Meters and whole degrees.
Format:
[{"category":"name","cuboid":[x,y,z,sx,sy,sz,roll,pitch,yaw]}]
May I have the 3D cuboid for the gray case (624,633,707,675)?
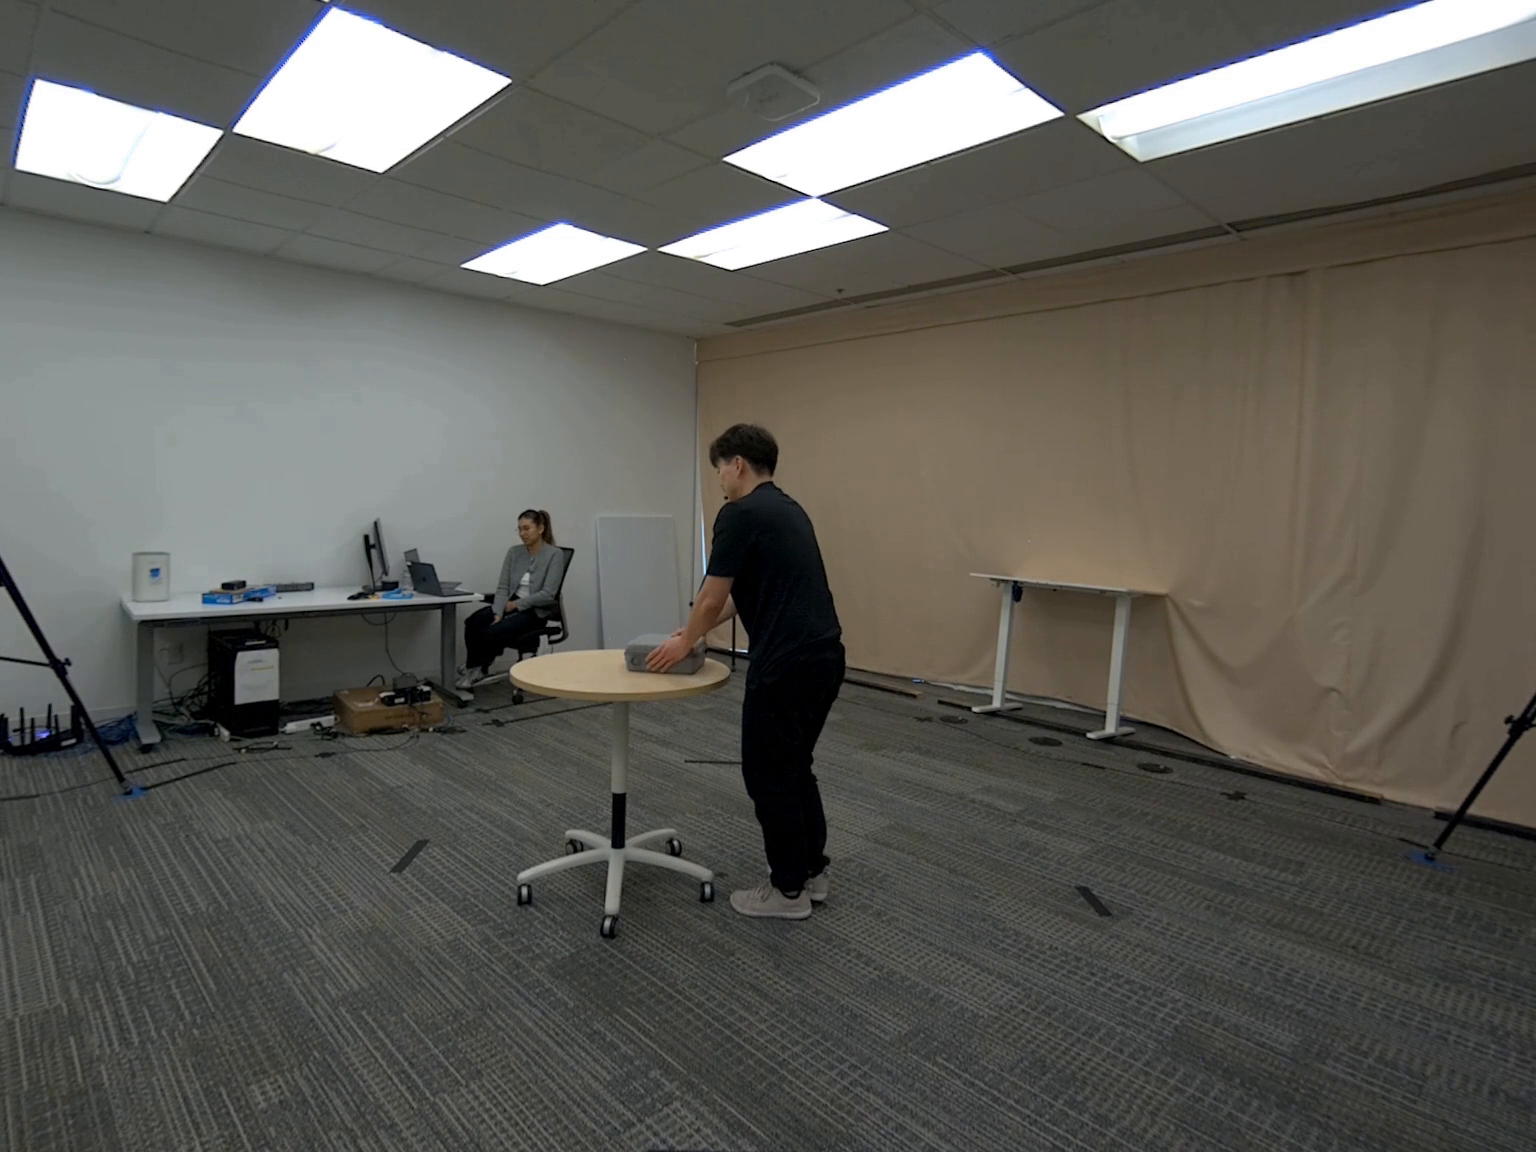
[{"category":"gray case","cuboid":[-0.370,0.280,3.013,0.262,0.104,0.256,3,7,8]}]
